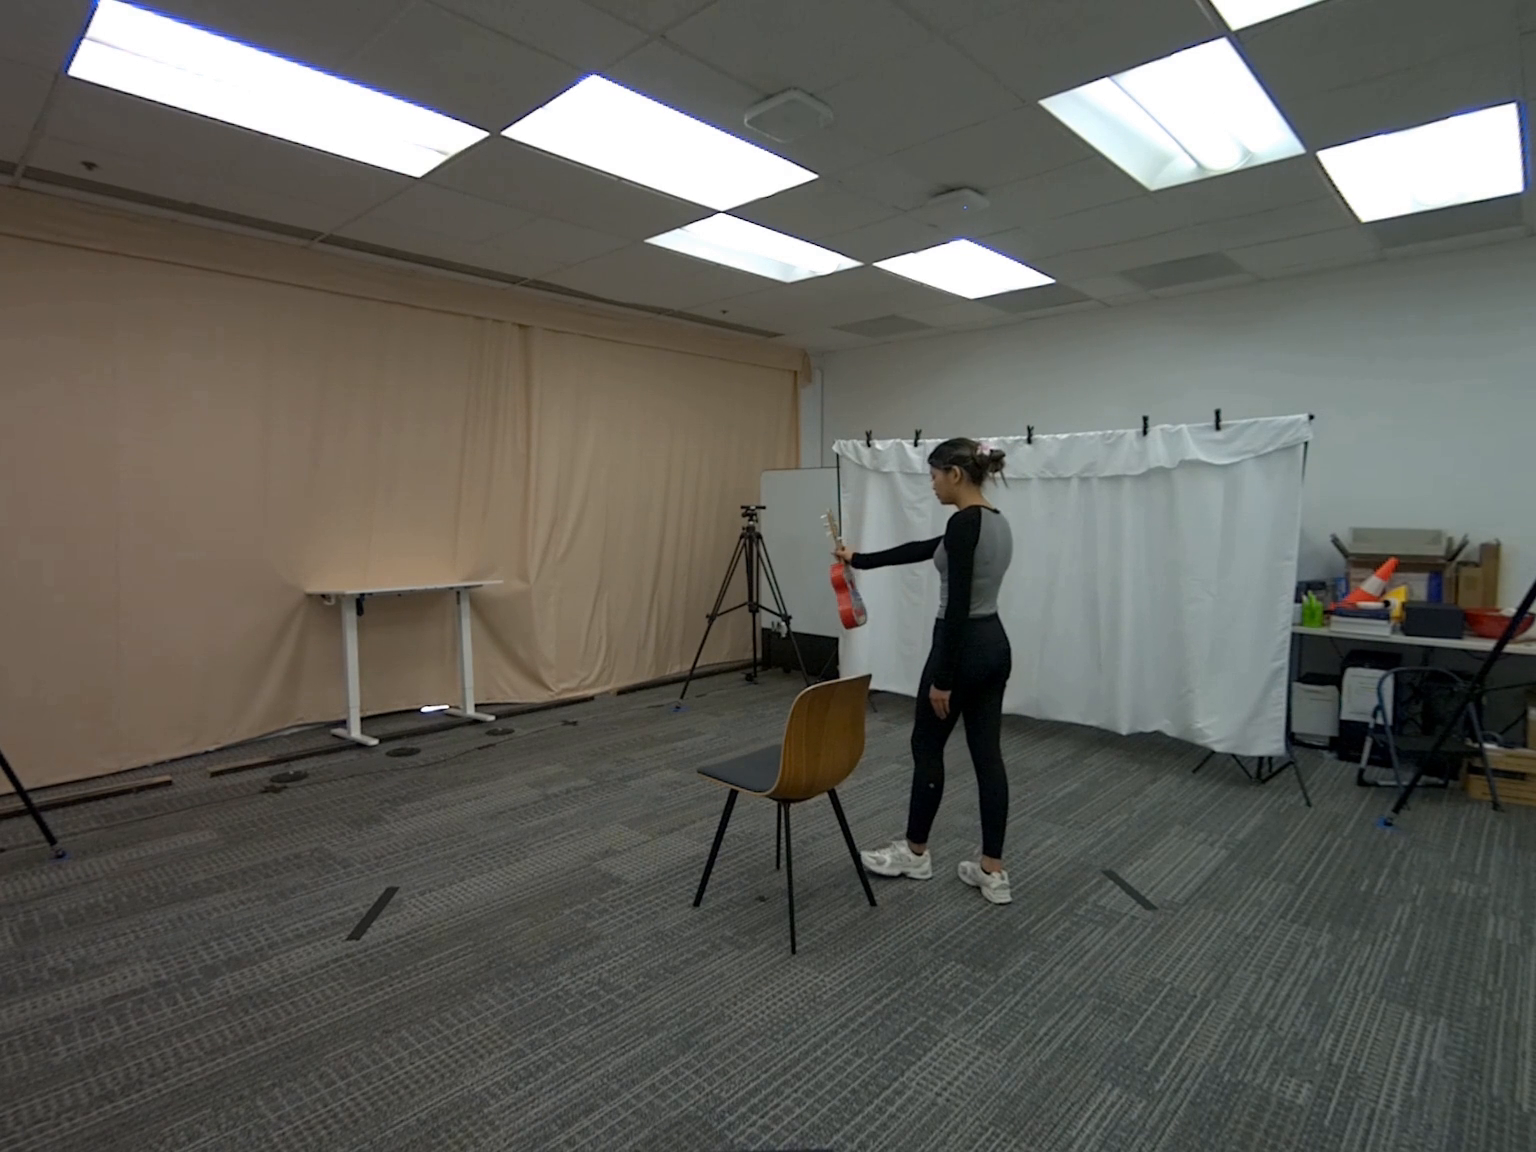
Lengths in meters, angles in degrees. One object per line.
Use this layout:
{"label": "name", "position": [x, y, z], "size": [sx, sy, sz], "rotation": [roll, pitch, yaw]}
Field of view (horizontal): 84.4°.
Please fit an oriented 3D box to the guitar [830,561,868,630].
{"label": "guitar", "position": [0.321, -0.029, 3.503], "size": [0.072, 0.502, 0.188], "rotation": [-17, -10, 23]}
